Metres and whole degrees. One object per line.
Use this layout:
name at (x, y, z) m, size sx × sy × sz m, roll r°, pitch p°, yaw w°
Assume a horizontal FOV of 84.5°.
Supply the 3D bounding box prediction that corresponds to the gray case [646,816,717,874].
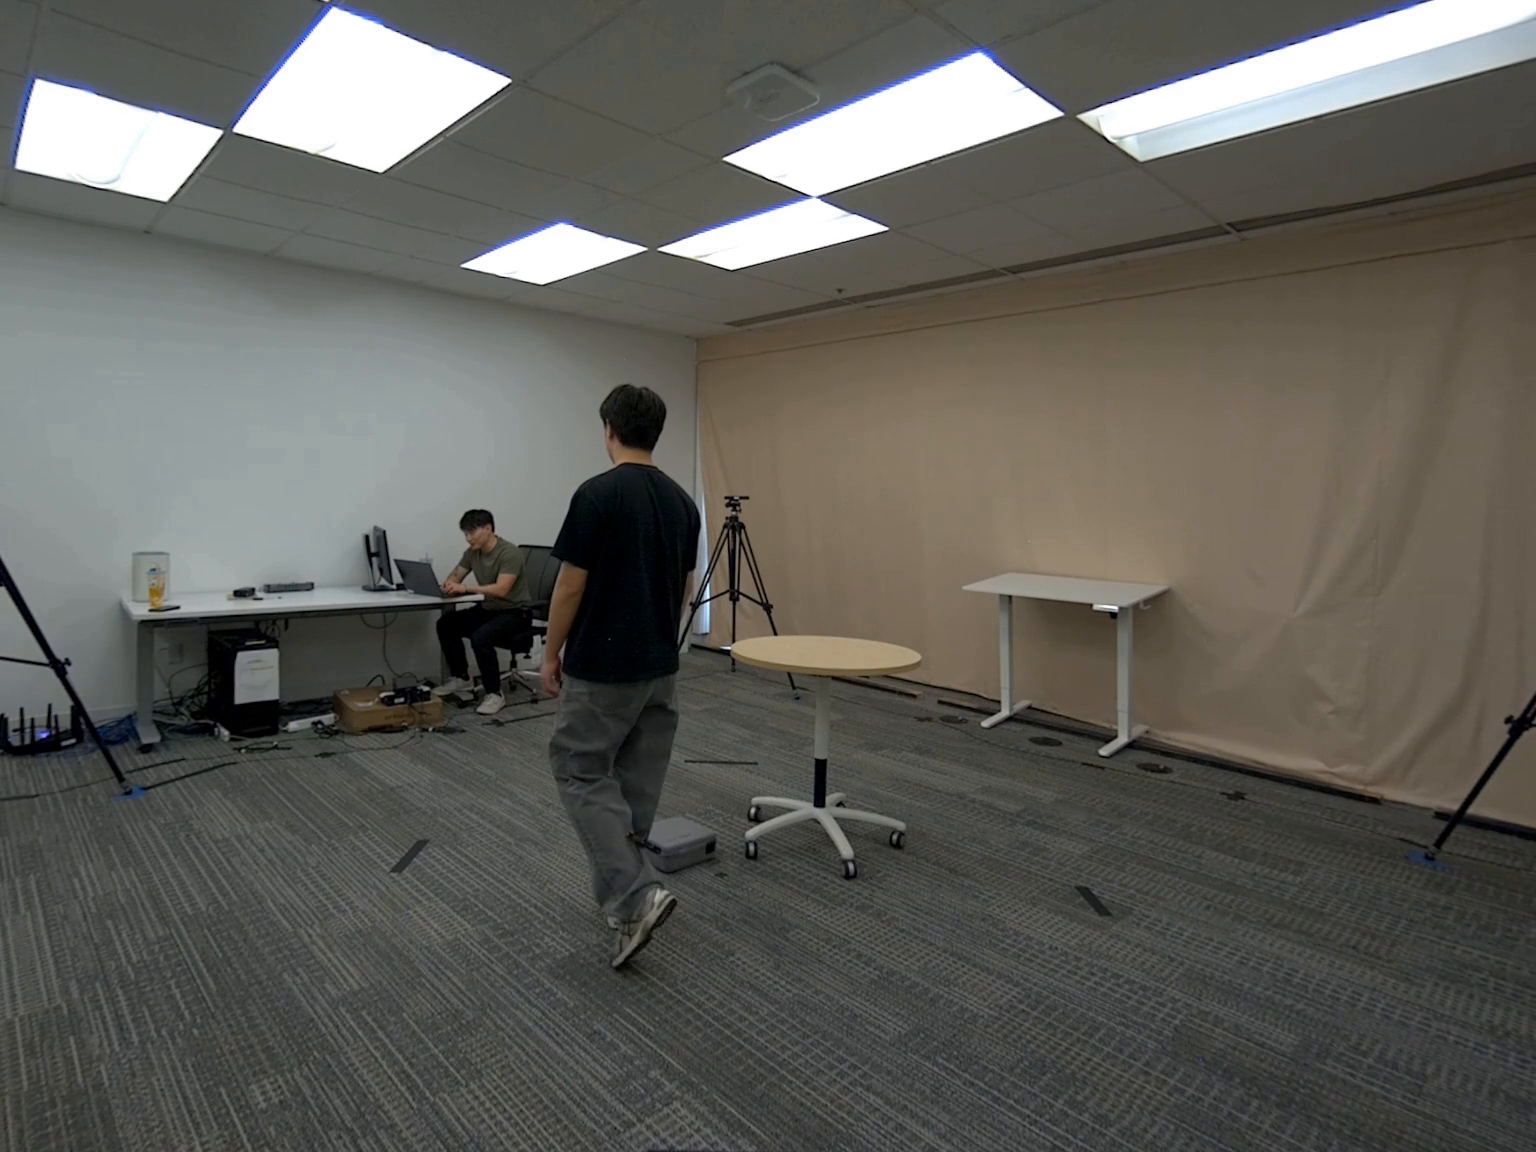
gray case at (-0.379, 1.029, 3.257) m, size 0.257 × 0.103 × 0.294 m, roll -3°, pitch 6°, yaw -41°
